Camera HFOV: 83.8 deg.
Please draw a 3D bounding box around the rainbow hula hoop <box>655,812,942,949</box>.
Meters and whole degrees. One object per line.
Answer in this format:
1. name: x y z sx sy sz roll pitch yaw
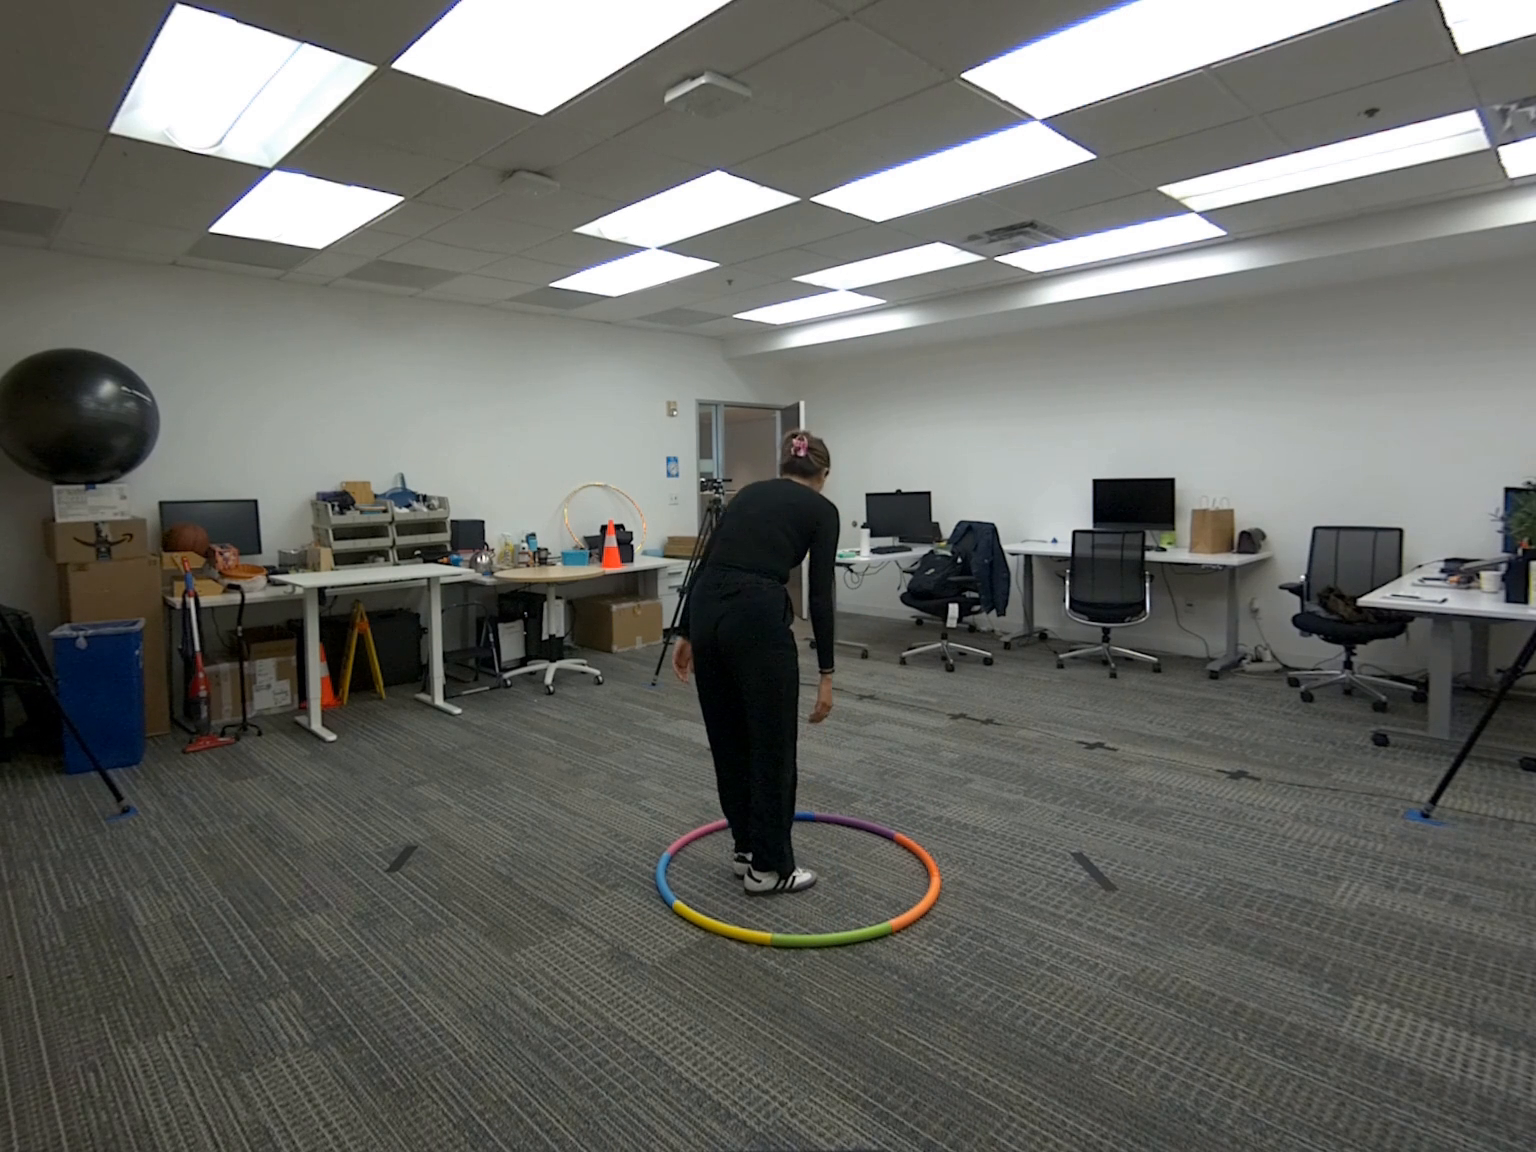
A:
1. rainbow hula hoop: 0.099 1.023 3.021 0.978 0.035 0.984 -1 6 -2
